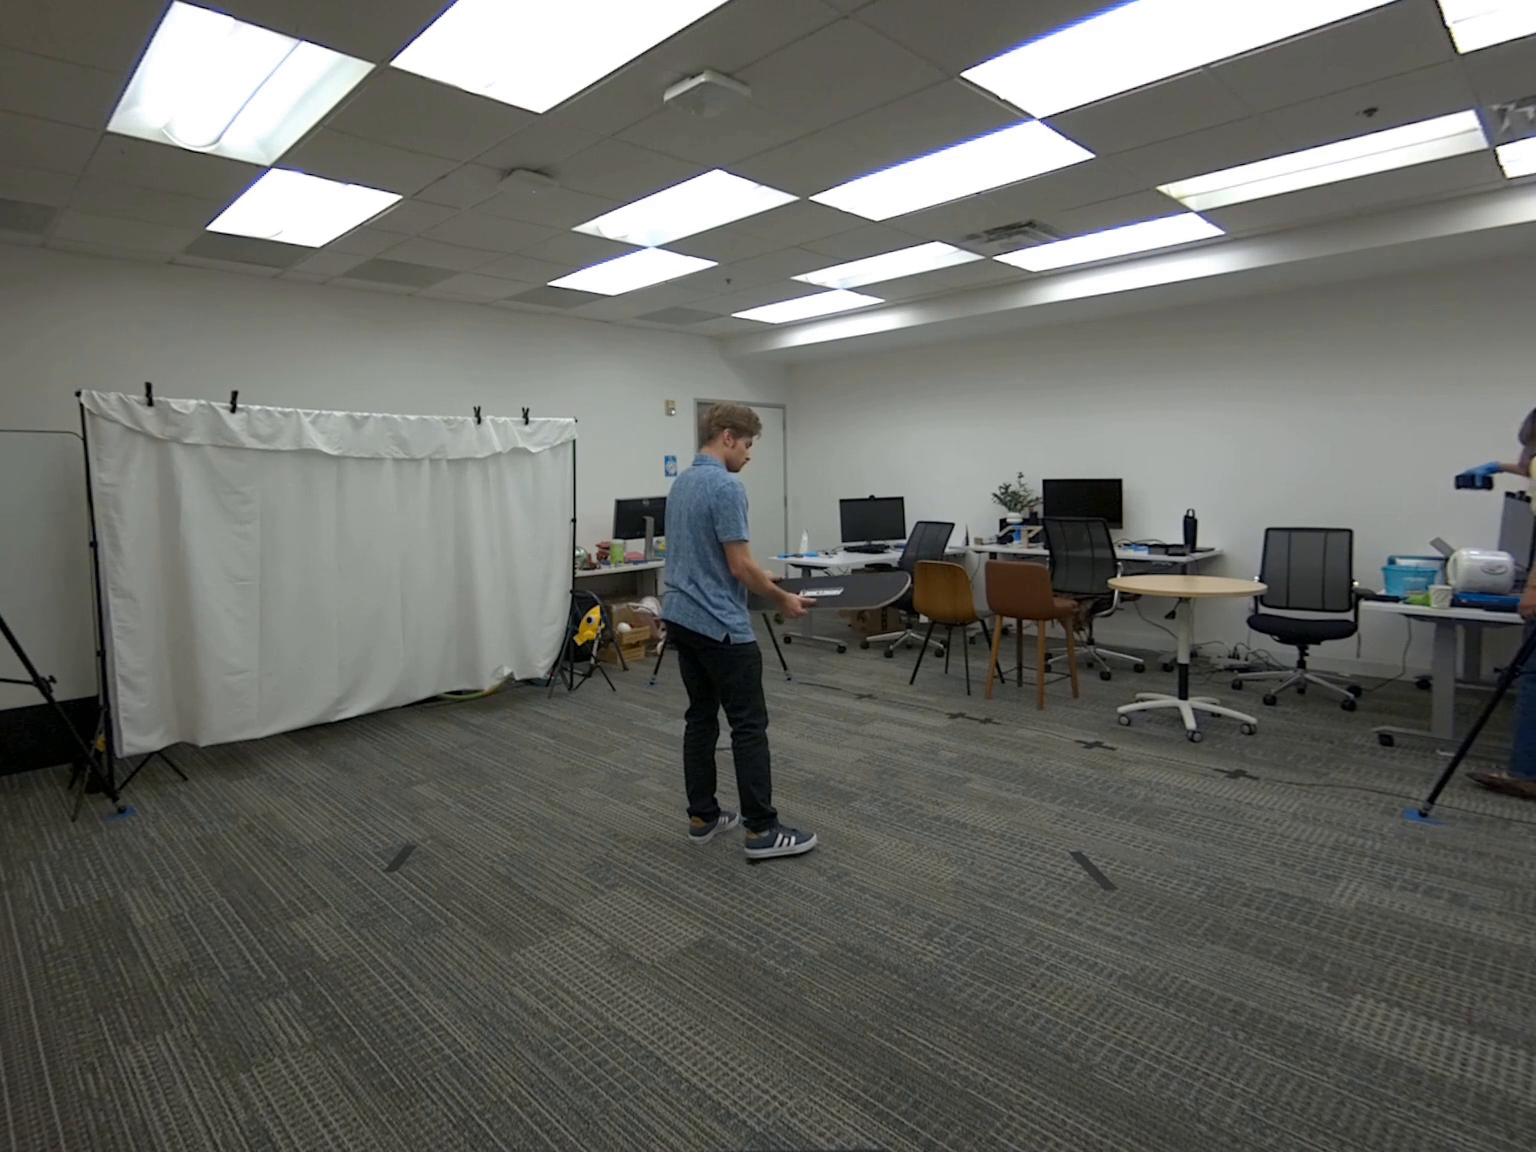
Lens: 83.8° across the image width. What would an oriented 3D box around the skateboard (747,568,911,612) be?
[{"bbox_3d":[0.216,0.095,3.347,0.806,0.107,0.195,-4,43,41],"label":"skateboard"}]
